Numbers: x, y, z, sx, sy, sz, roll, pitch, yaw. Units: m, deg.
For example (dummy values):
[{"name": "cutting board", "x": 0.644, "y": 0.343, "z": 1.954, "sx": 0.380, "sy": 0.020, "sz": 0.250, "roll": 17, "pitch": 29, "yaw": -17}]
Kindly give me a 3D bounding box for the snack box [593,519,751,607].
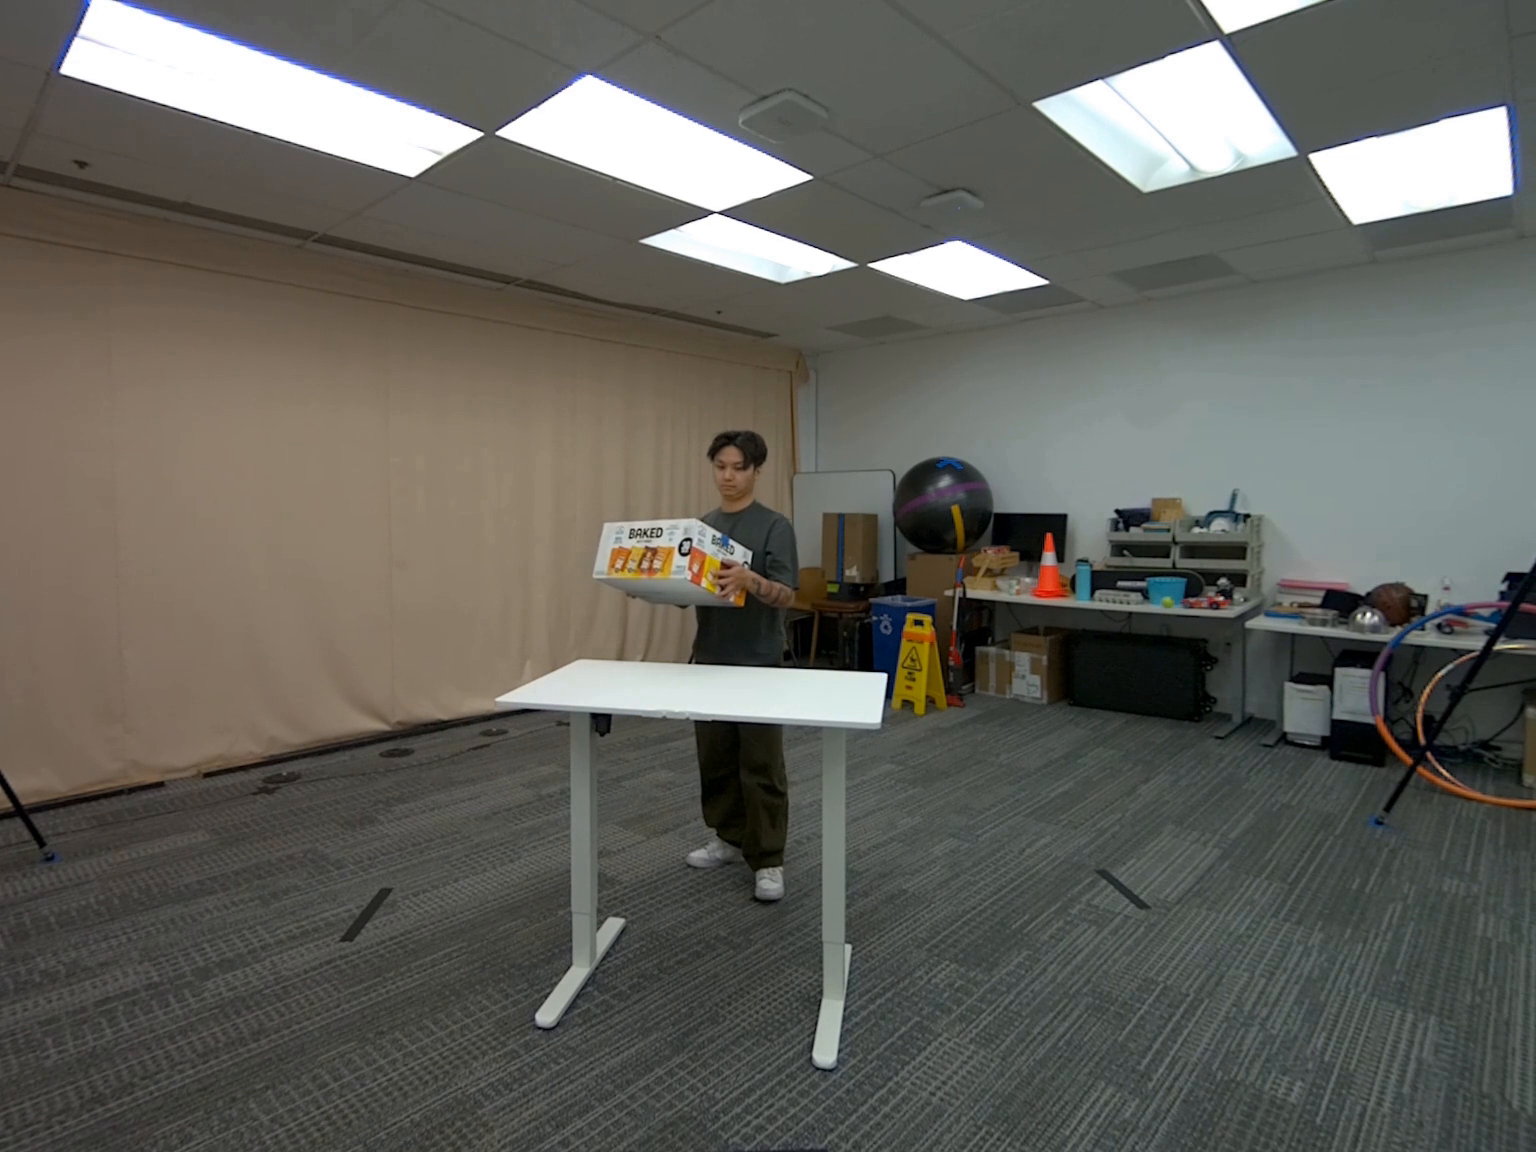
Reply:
[{"name": "snack box", "x": -0.324, "y": -0.039, "z": 2.917, "sx": 0.417, "sy": 0.207, "sz": 0.328, "roll": -1, "pitch": -18, "yaw": 34}]
